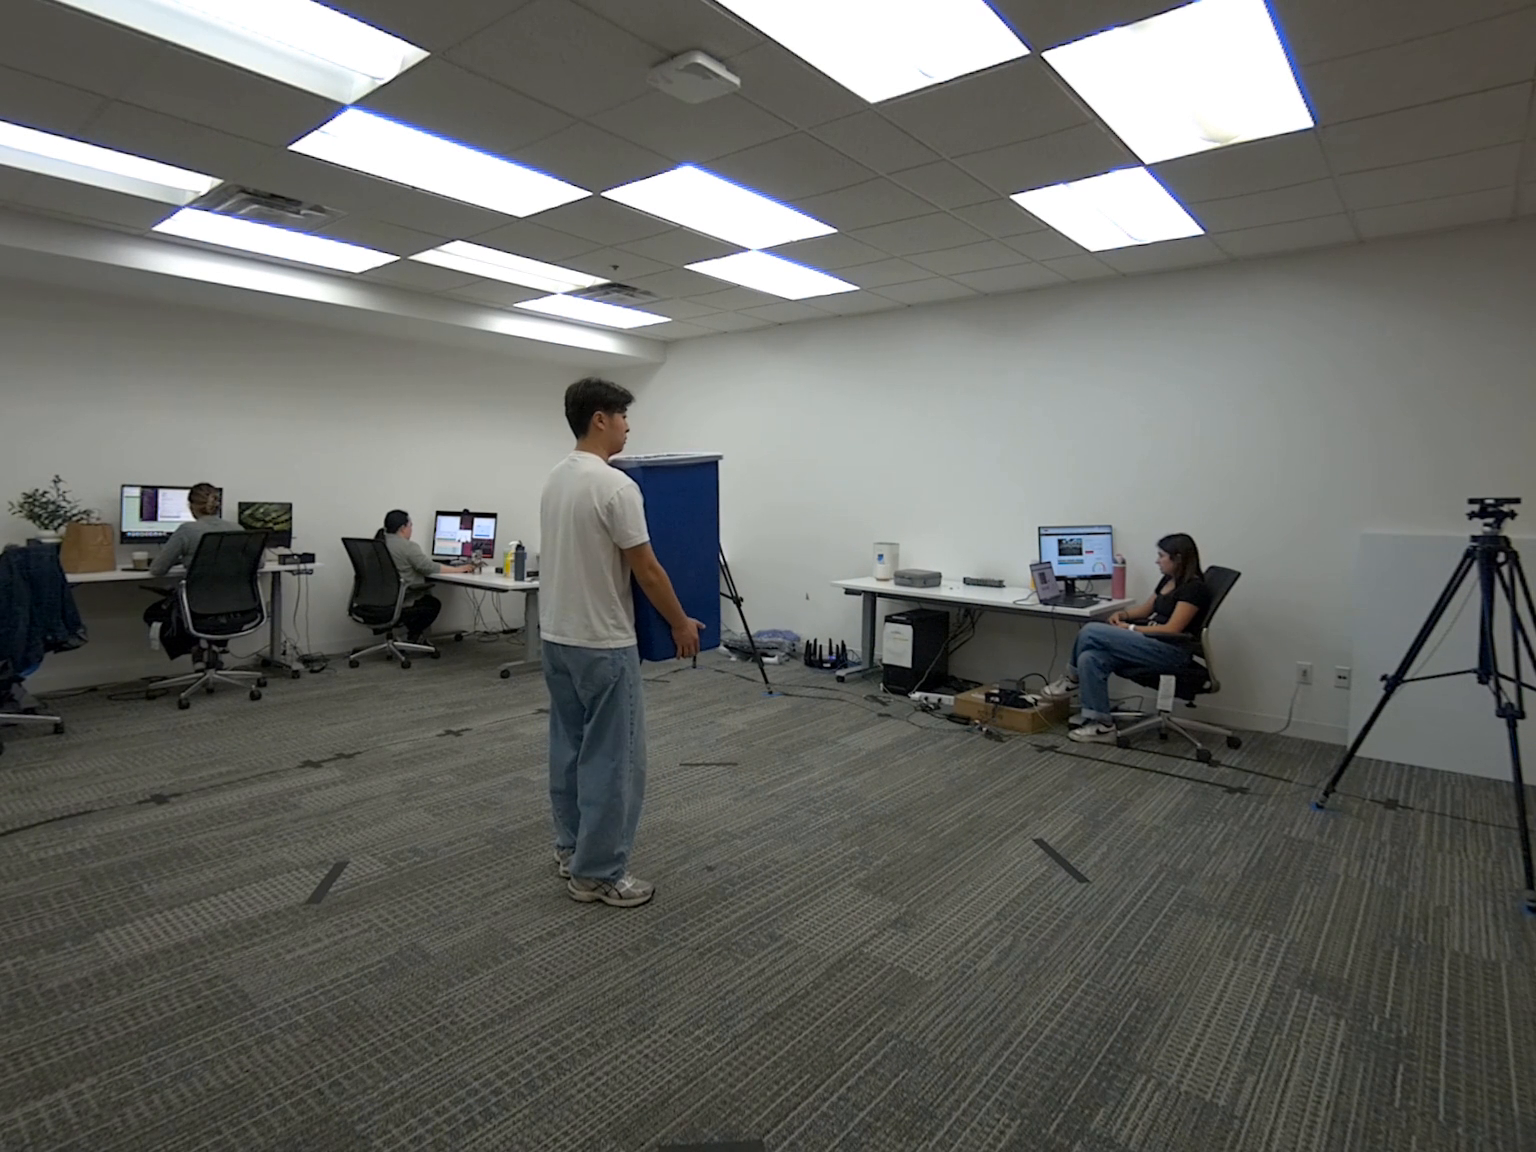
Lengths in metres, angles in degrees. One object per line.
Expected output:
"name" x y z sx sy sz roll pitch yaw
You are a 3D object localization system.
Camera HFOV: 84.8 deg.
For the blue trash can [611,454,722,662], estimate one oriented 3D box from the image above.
"blue trash can" -0.395 -0.091 3.132 0.368 0.708 0.387 -9 9 -38
